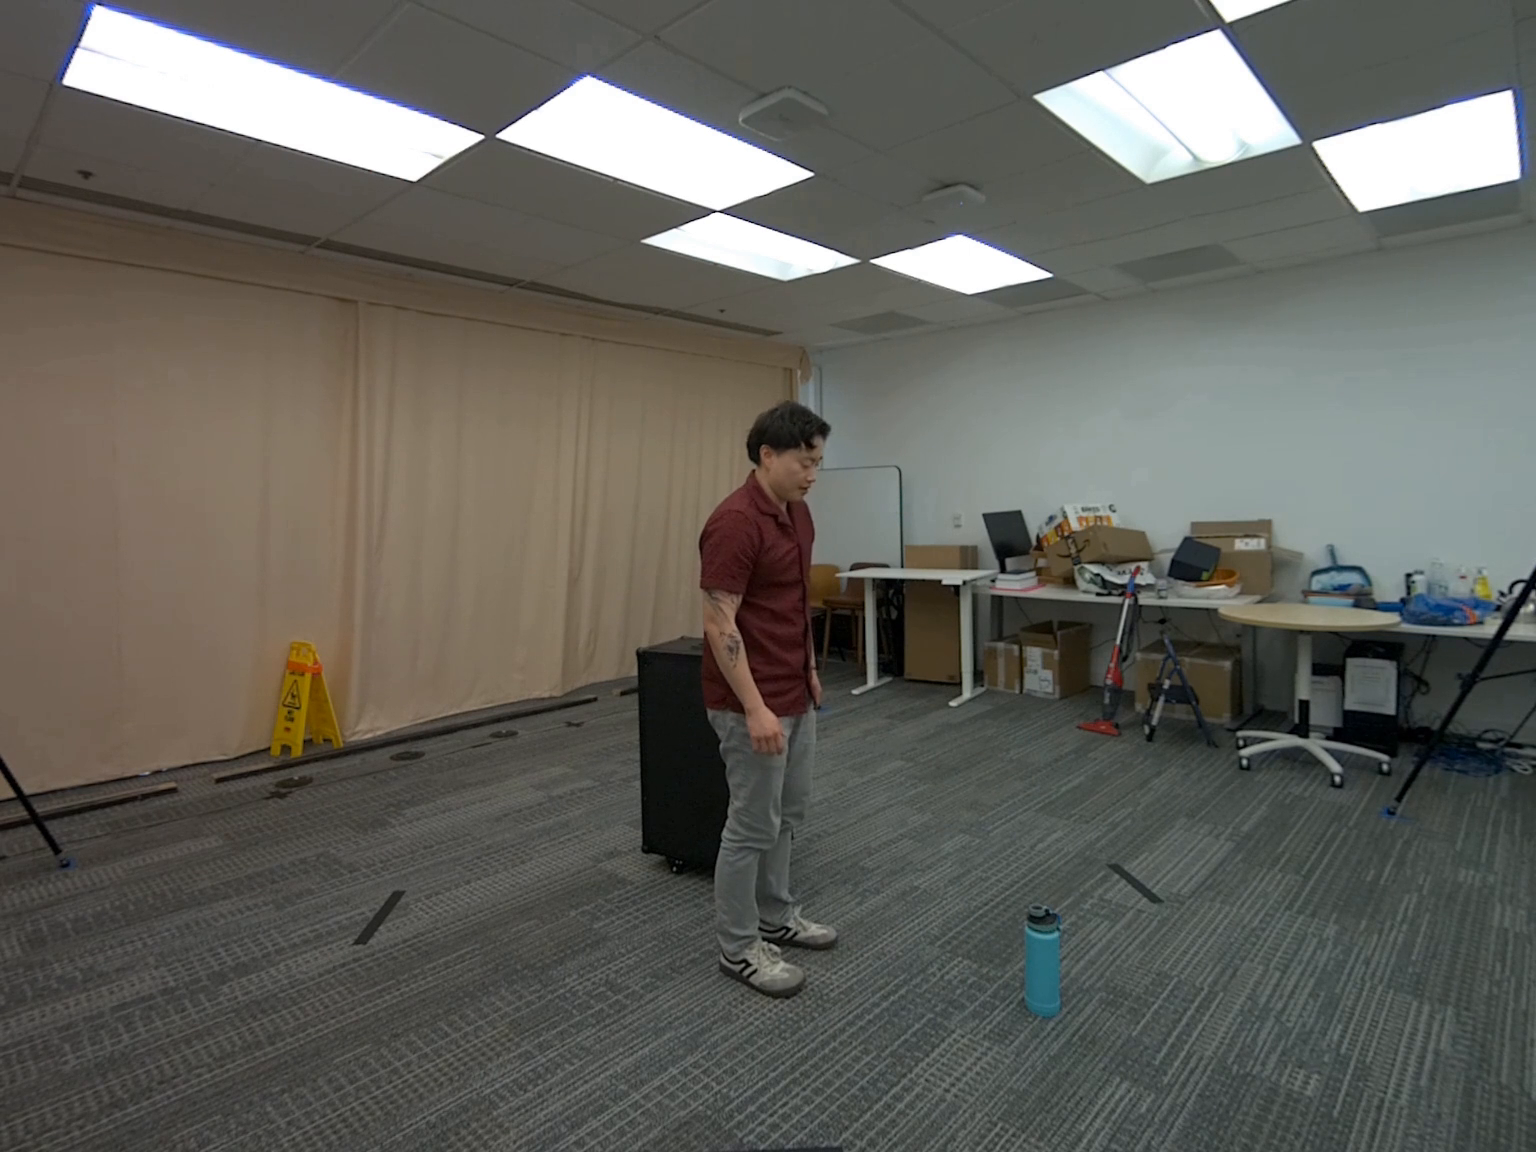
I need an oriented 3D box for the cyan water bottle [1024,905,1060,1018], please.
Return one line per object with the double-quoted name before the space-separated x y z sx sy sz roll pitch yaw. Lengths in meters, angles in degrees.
"cyan water bottle" 0.763 1.048 2.291 0.092 0.283 0.092 0 2 -2
